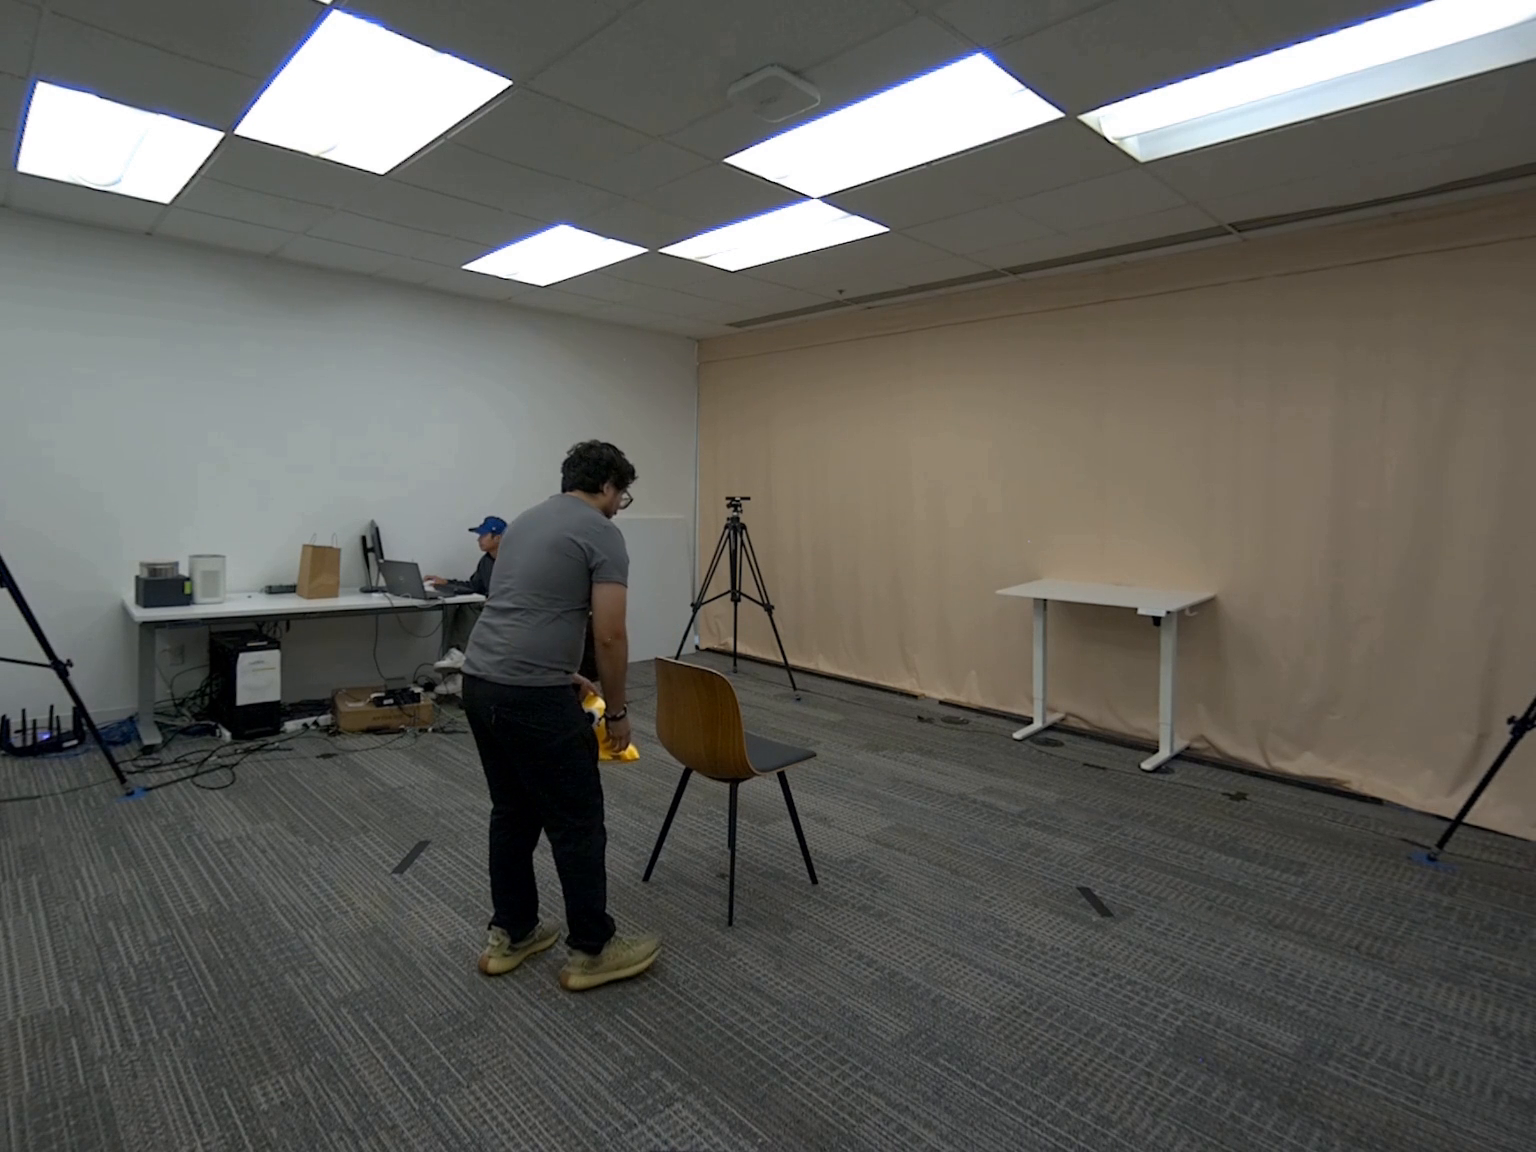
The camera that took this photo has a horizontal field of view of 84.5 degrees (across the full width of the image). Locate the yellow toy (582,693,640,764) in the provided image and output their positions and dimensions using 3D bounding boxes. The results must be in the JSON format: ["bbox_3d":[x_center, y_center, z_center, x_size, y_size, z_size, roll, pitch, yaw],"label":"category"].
[{"bbox_3d":[-0.515,0.474,2.648,0.196,0.234,0.199,-20,-23,40],"label":"yellow toy"}]
